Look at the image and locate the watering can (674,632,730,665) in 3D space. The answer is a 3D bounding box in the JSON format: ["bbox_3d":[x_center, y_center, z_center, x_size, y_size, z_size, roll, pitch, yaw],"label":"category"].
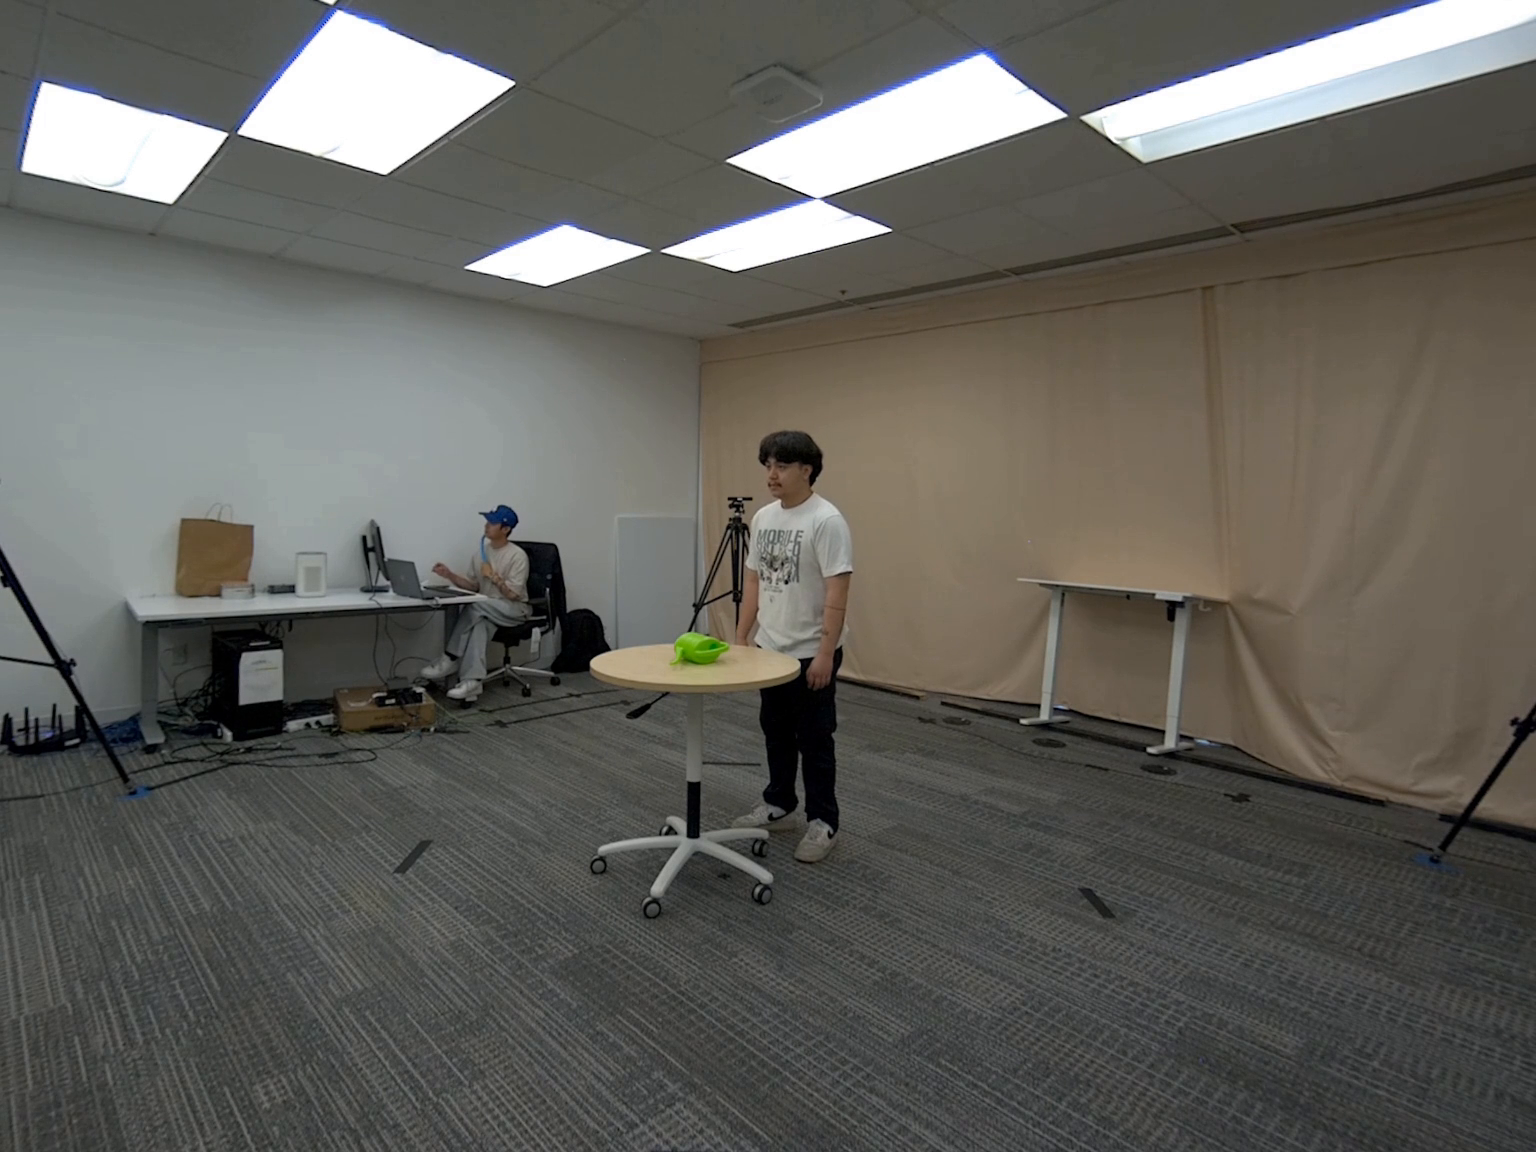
[{"bbox_3d":[-0.282,0.264,3.045,0.271,0.098,0.181,4,1,-39],"label":"watering can"}]
